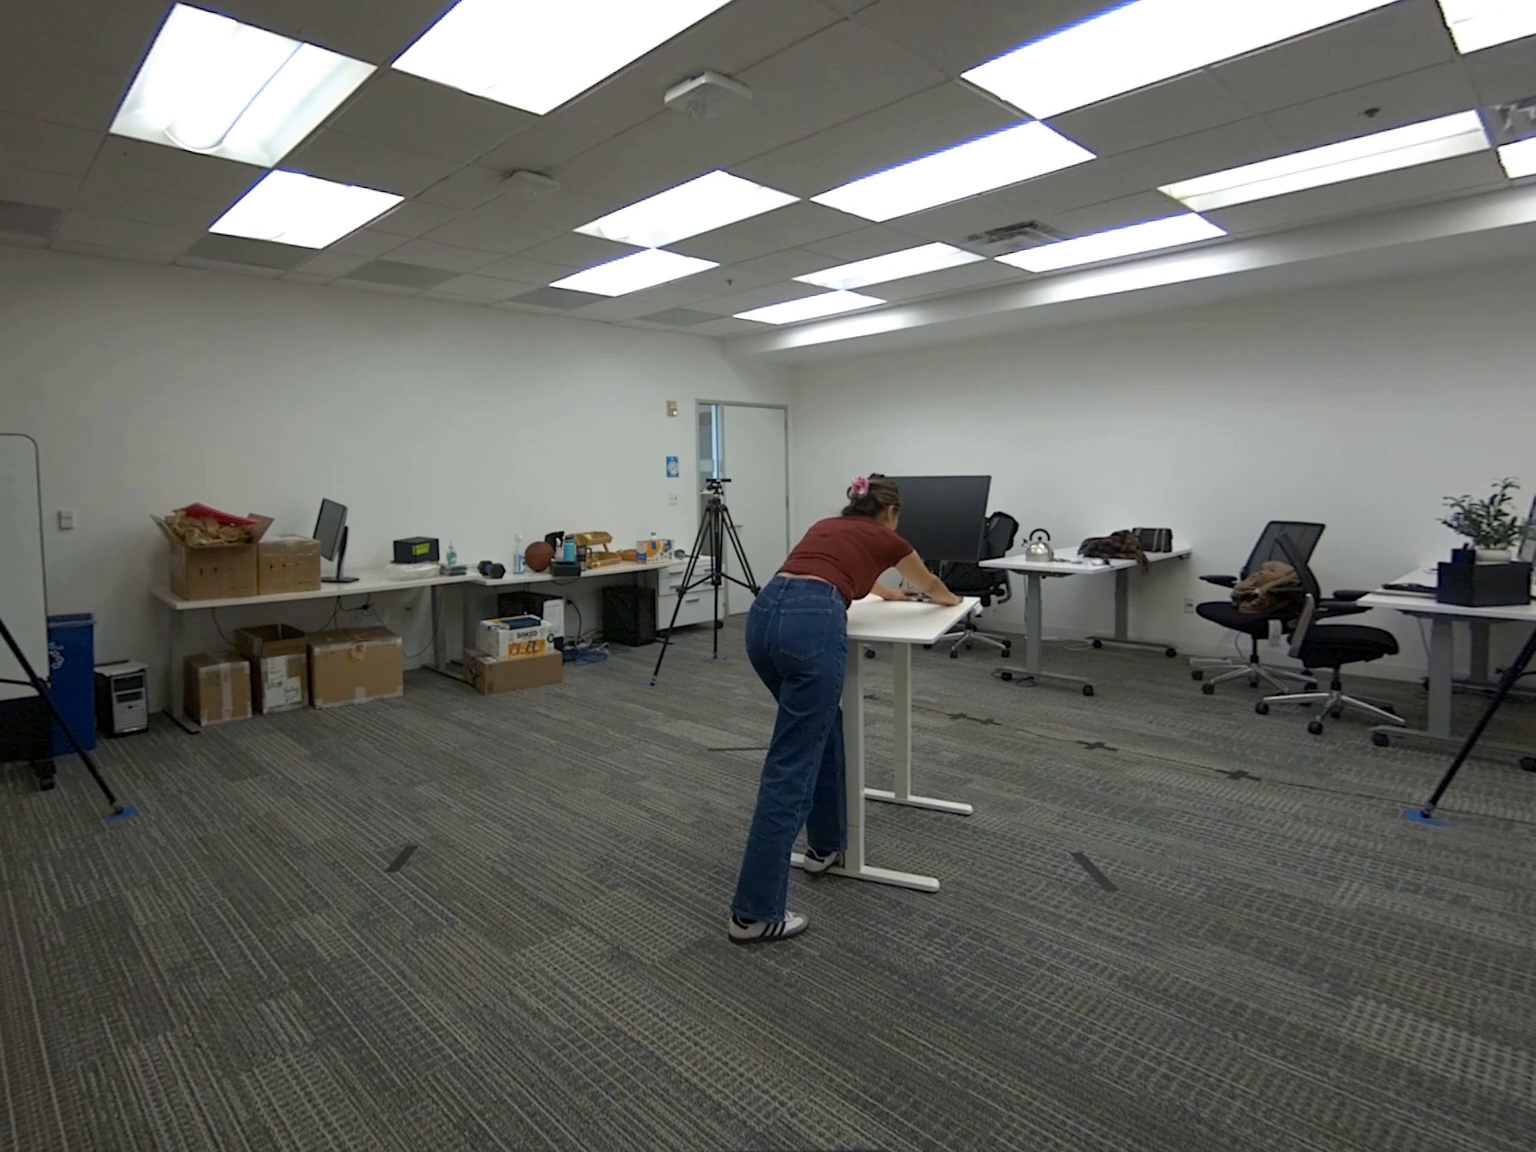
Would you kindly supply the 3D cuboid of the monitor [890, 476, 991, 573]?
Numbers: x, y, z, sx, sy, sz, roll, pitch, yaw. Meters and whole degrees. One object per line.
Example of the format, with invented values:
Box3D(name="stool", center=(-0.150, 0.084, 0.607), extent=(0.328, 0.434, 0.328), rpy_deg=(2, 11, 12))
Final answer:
Box3D(name="monitor", center=(0.664, -0.158, 3.561), extent=(0.555, 0.521, 0.182), rpy_deg=(4, 3, 38))
